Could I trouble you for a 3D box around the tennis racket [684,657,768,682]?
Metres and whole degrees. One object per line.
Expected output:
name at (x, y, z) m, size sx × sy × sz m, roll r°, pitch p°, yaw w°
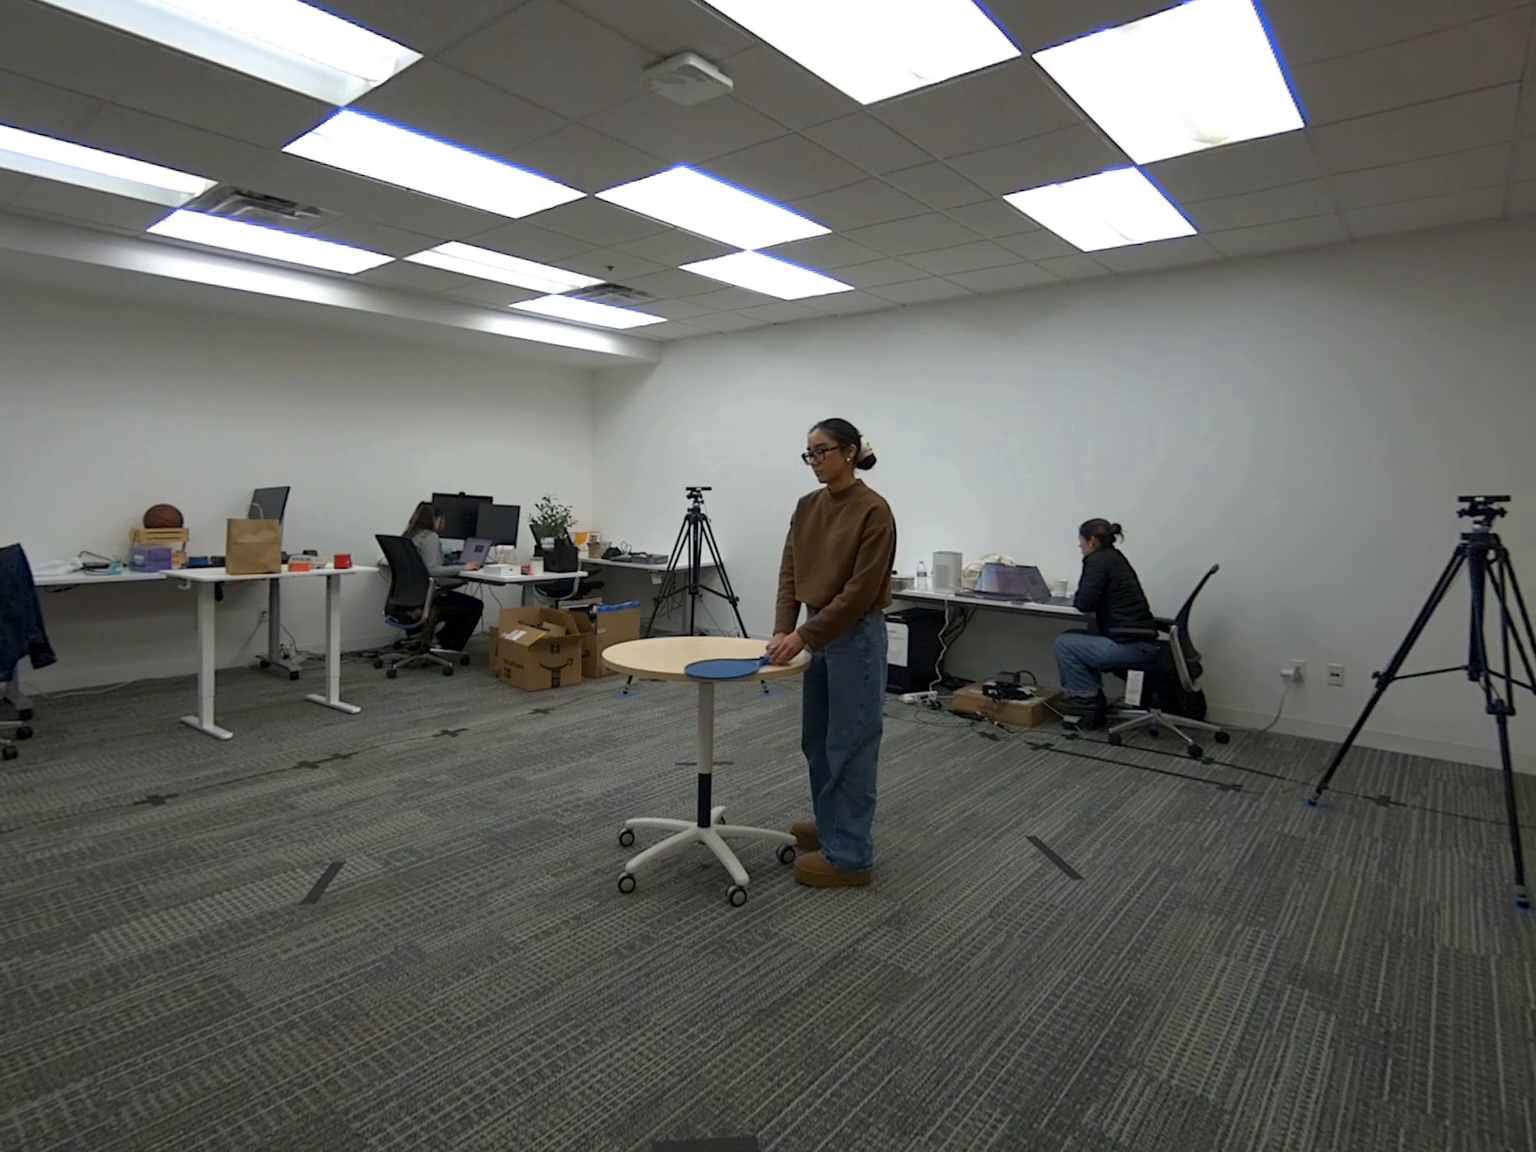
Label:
tennis racket at (-0.095, 0.304, 2.846) m, size 0.421 × 0.031 × 0.221 m, roll -4°, pitch 8°, yaw -35°
